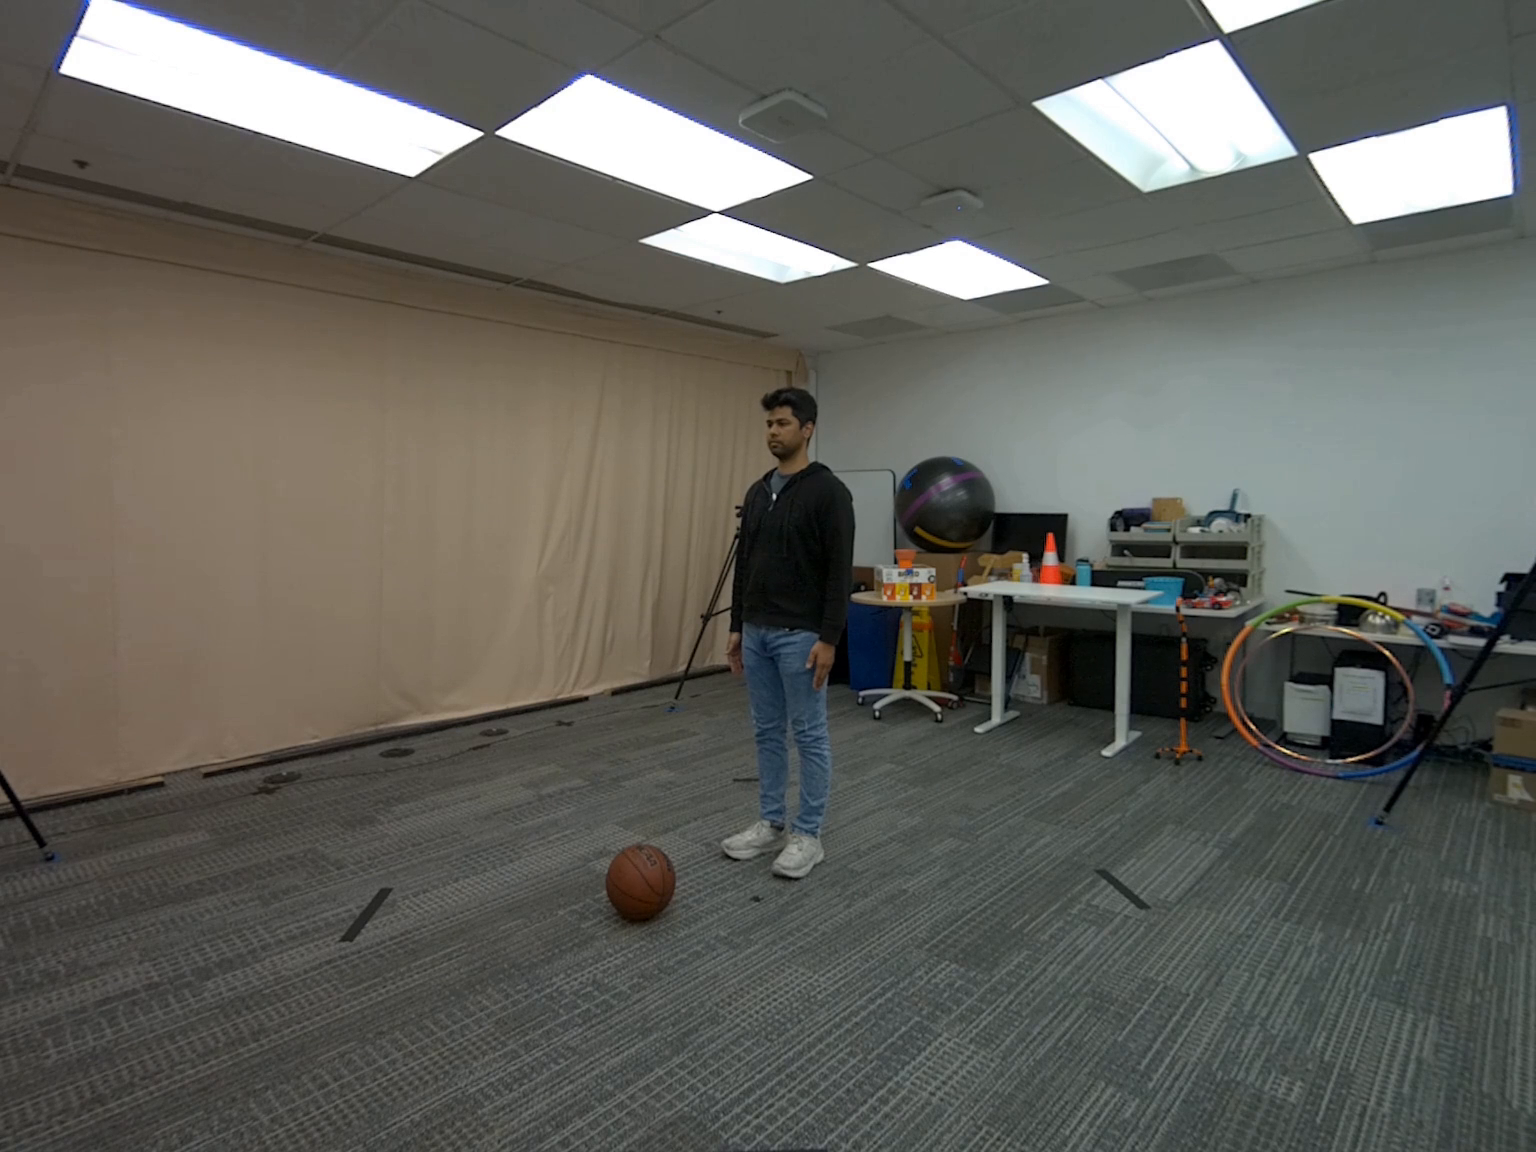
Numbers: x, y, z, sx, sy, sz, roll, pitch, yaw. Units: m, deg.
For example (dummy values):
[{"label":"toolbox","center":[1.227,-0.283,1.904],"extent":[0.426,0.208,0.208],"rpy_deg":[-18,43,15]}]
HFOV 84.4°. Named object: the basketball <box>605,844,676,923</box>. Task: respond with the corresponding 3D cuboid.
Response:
[{"label":"basketball","center":[-0.428,1.035,2.865],"extent":[0.236,0.235,0.237],"rpy_deg":[0,4,-2]}]
